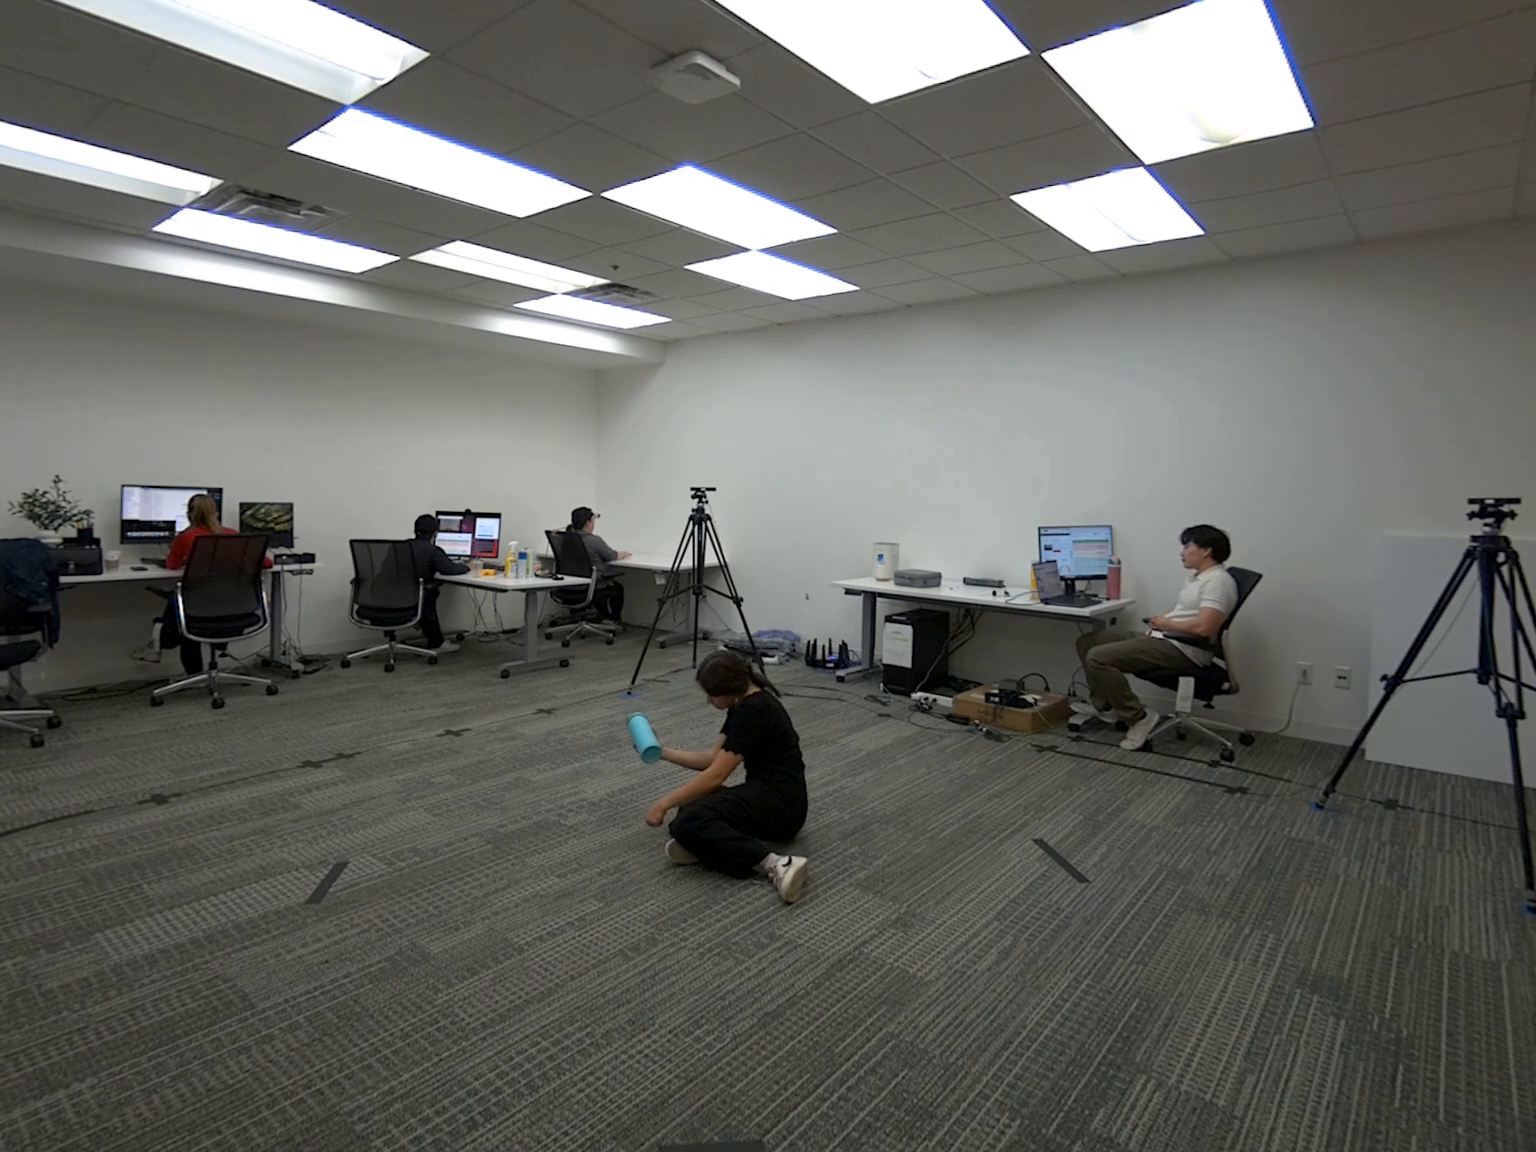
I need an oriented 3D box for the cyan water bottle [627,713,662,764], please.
[{"bbox_3d":[-0.531,0.648,3.507,0.090,0.091,0.294,-1,22,-22],"label":"cyan water bottle"}]
